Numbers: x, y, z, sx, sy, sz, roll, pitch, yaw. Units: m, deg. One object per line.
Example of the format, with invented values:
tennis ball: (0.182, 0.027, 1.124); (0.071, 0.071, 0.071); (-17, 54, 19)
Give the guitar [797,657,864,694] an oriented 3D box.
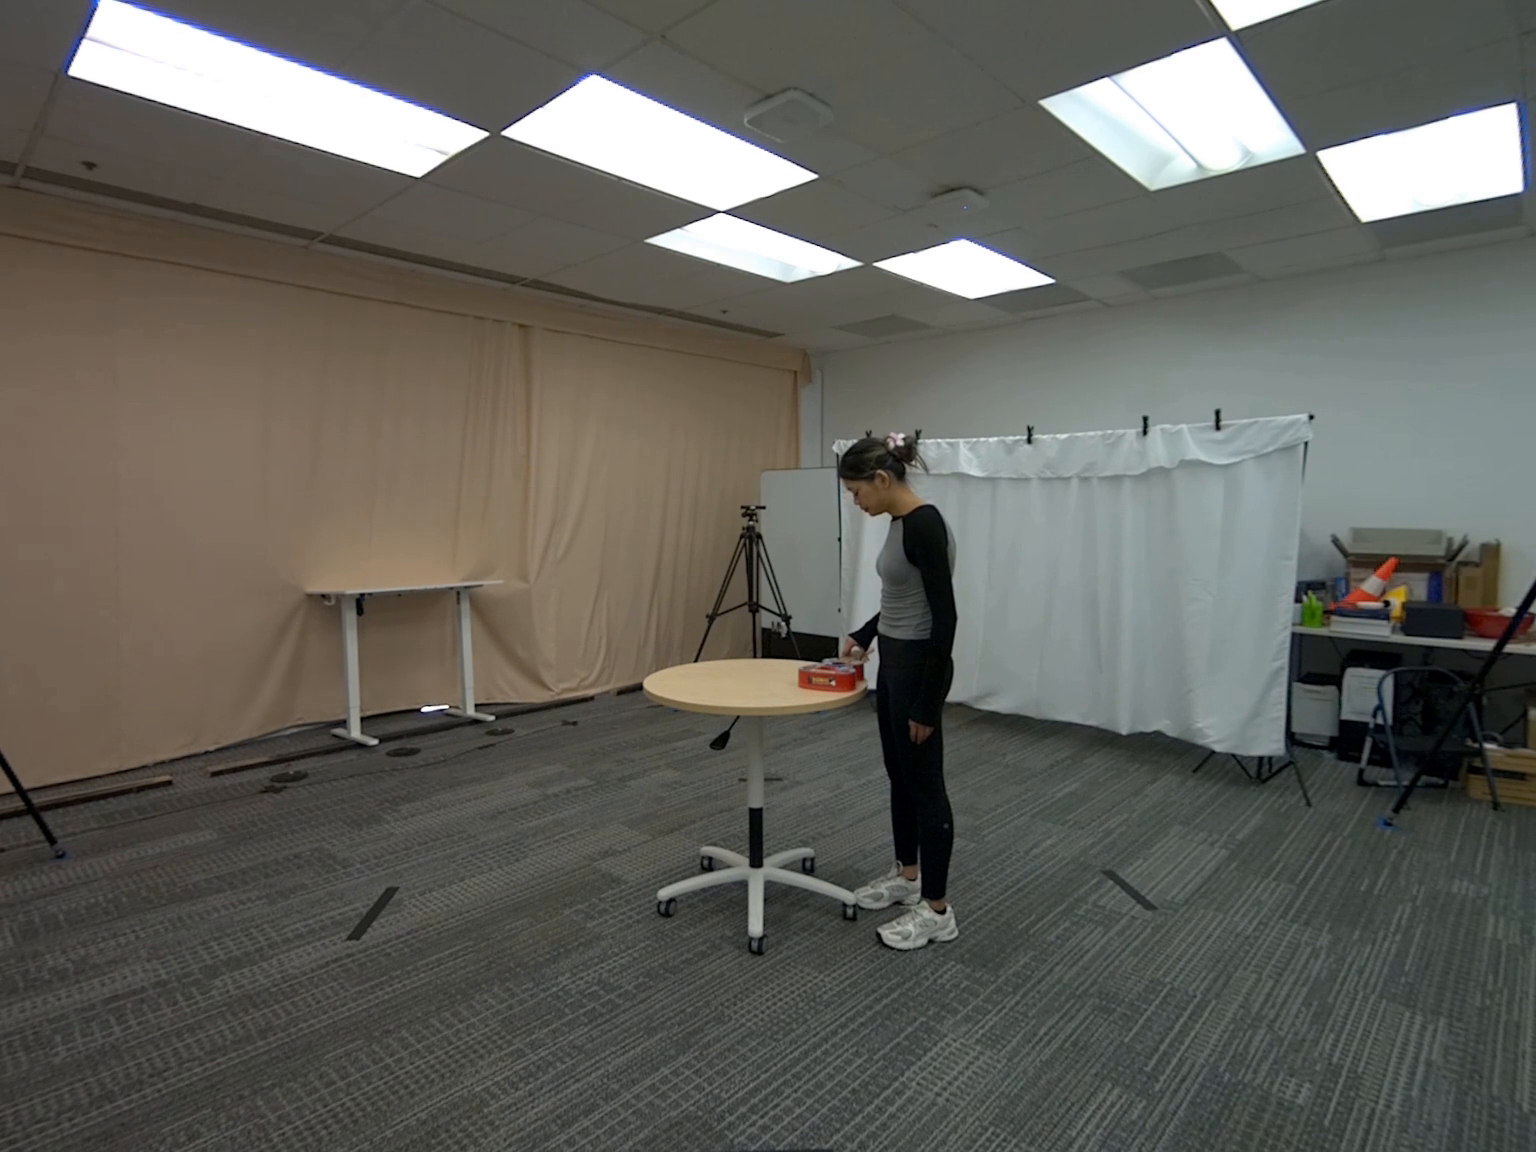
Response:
guitar: (0.307, 0.323, 2.915); (0.199, 0.070, 0.483); (1, 5, 37)
